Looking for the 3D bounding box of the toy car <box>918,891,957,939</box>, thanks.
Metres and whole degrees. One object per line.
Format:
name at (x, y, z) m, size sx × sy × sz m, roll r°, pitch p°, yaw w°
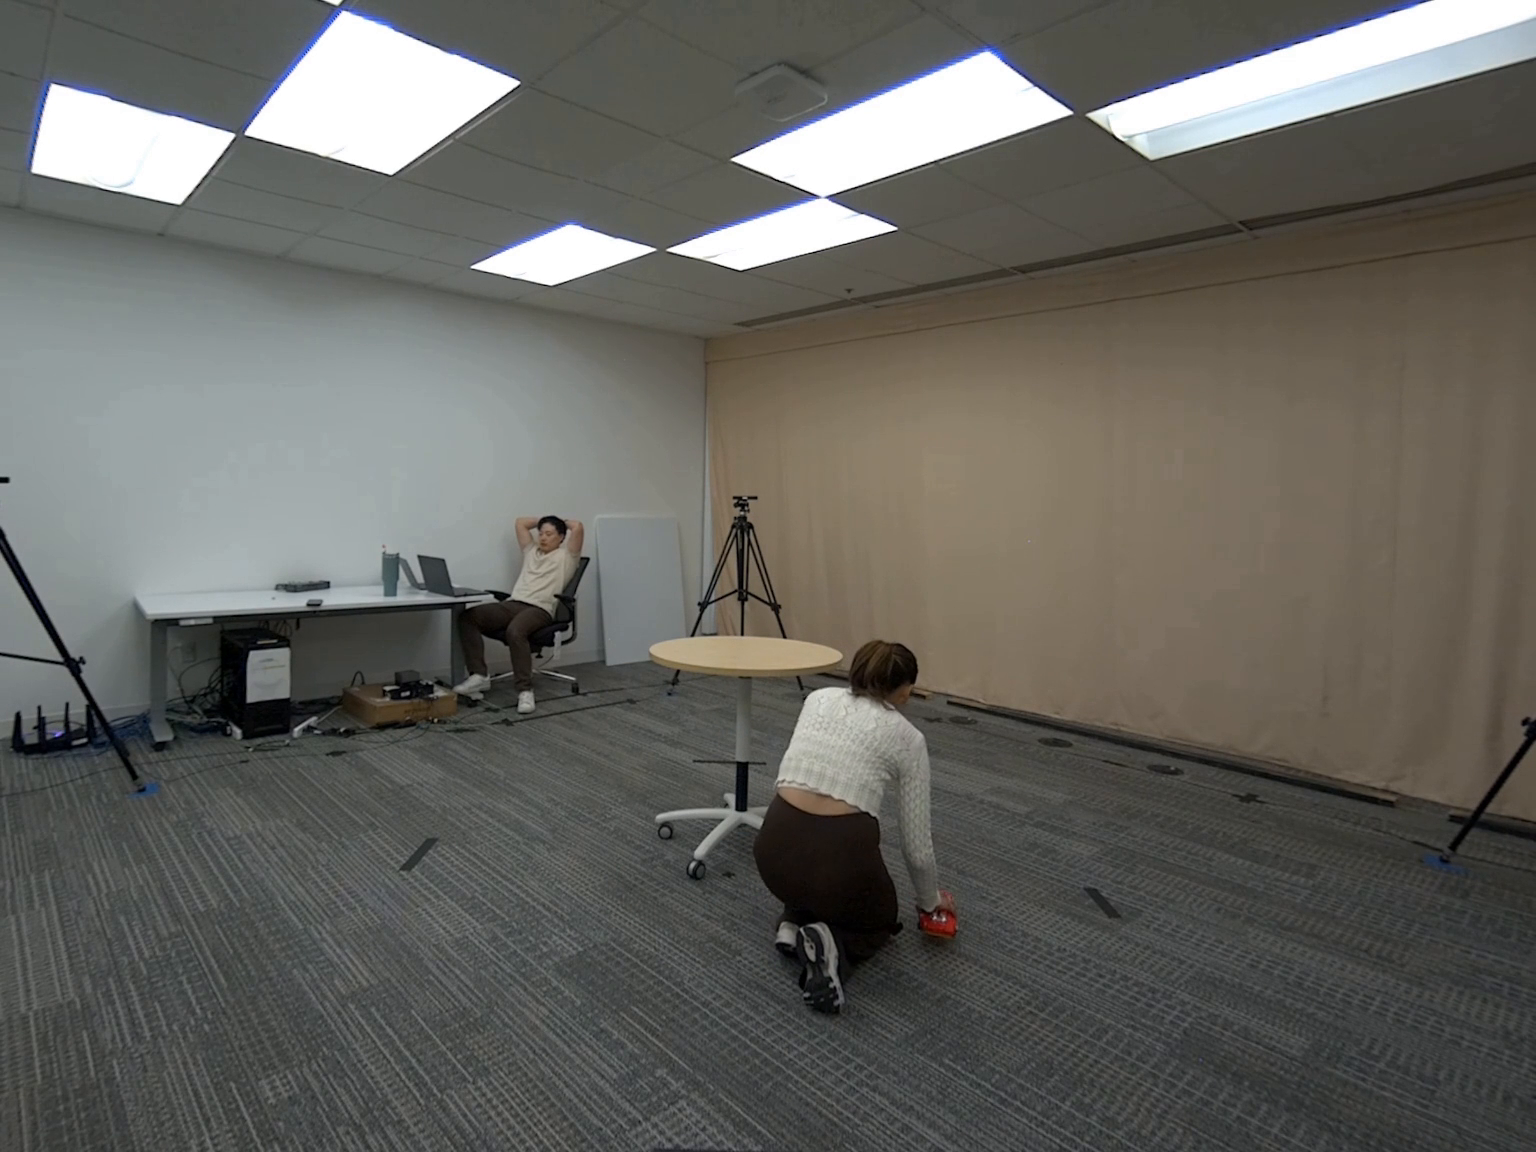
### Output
toy car at (0.536, 1.085, 2.697) m, size 0.131 × 0.083 × 0.253 m, roll 6°, pitch 1°, yaw 8°
